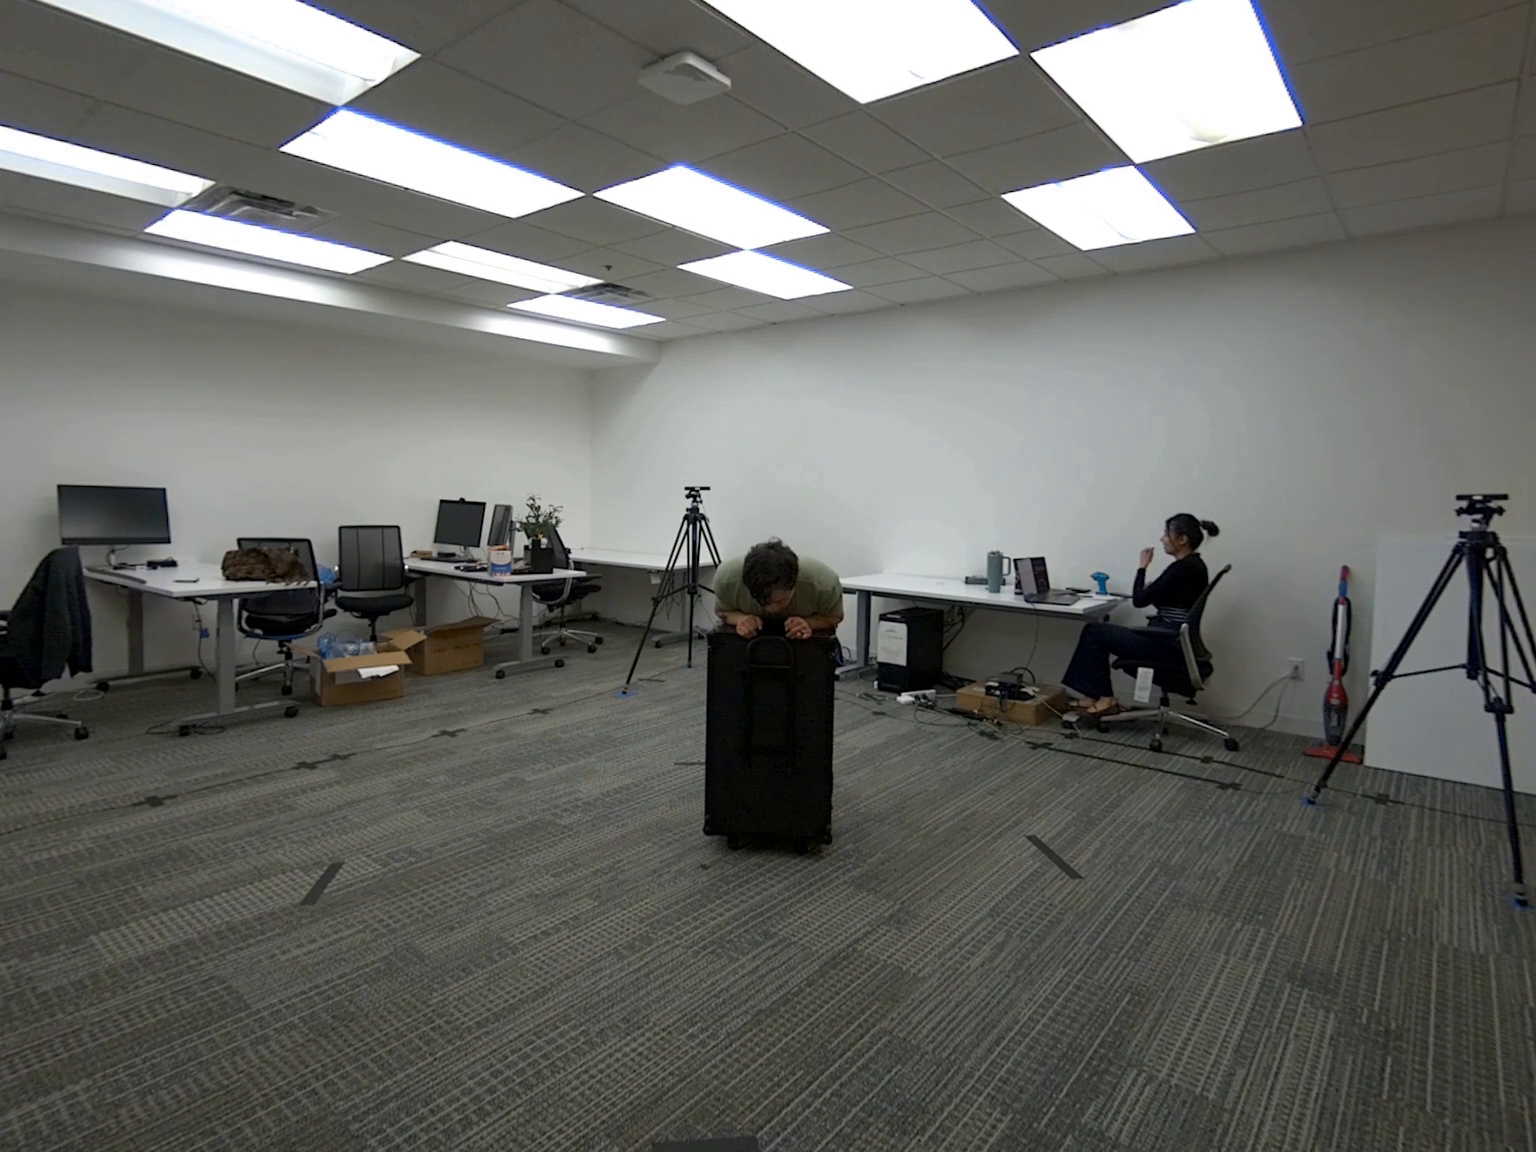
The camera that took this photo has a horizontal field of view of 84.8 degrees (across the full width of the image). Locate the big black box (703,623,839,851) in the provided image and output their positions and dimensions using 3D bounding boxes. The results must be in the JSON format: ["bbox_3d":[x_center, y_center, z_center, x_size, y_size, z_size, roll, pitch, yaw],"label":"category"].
[{"bbox_3d":[0.012,0.628,3.344,0.525,0.858,0.395,1,4,6],"label":"big black box"}]
